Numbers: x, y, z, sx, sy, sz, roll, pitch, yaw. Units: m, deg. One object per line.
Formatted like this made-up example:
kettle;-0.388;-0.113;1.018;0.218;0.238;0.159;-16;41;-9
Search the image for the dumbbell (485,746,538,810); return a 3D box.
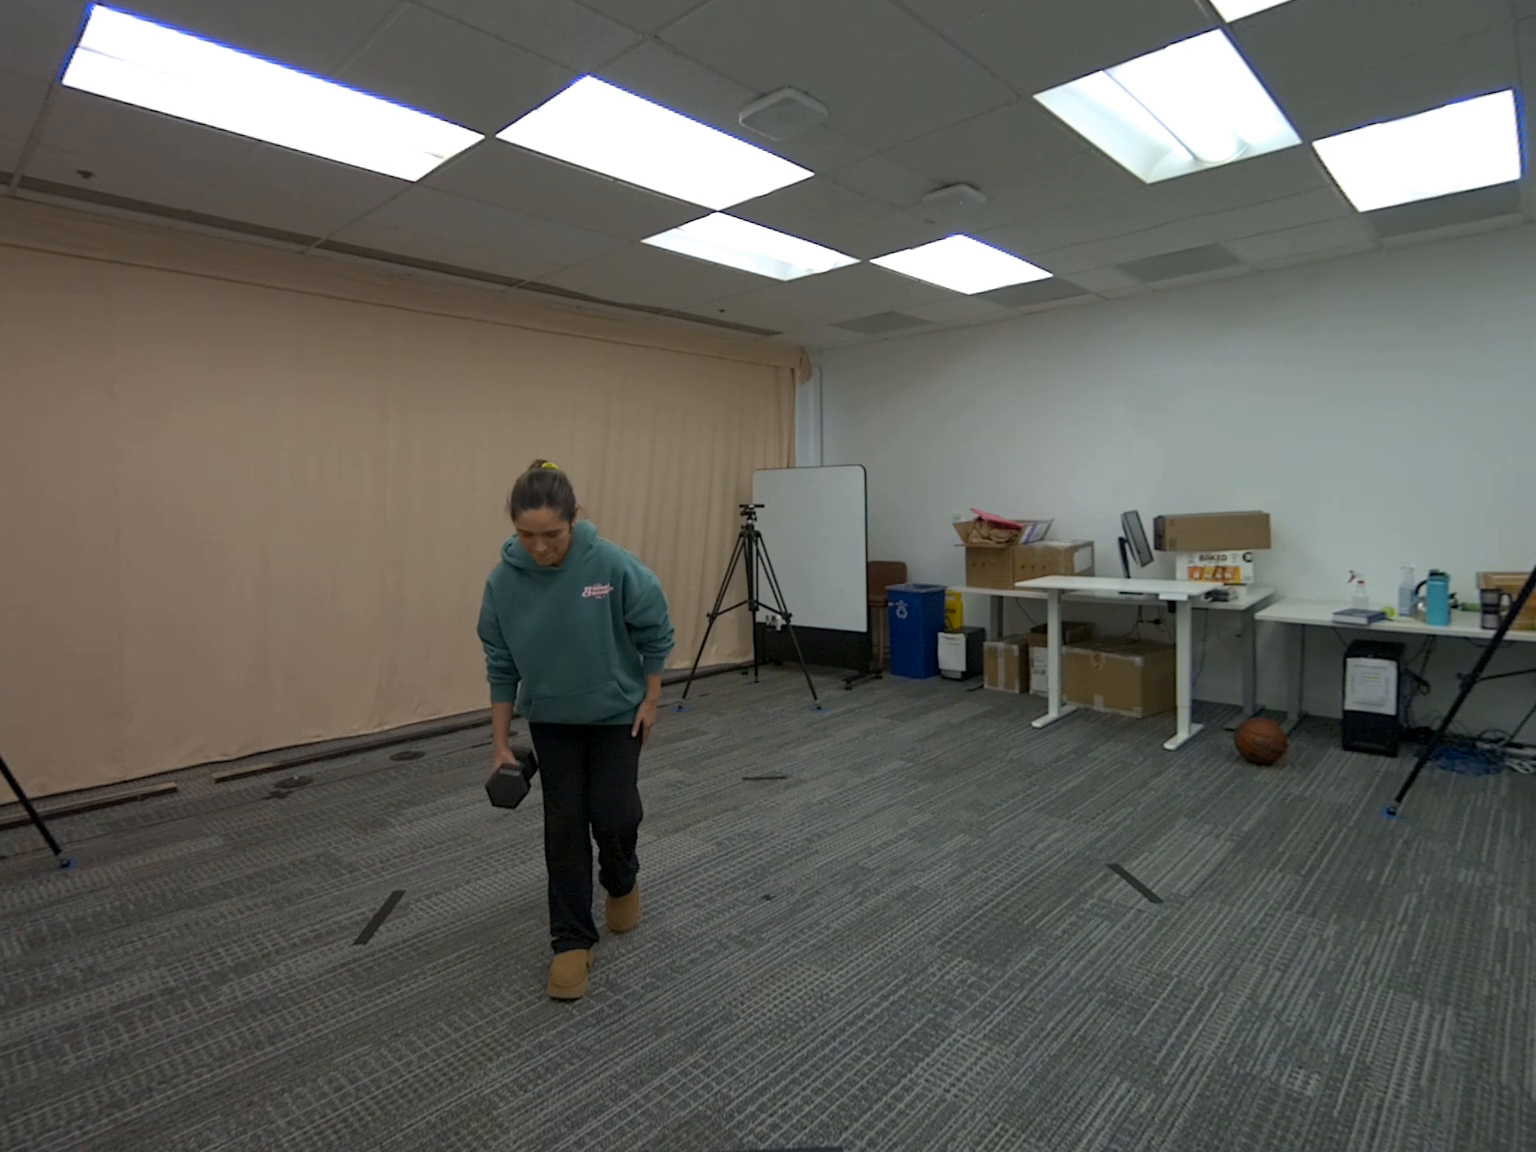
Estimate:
dumbbell;-0.740;0.583;2.449;0.108;0.122;0.296;-21;5;-9
